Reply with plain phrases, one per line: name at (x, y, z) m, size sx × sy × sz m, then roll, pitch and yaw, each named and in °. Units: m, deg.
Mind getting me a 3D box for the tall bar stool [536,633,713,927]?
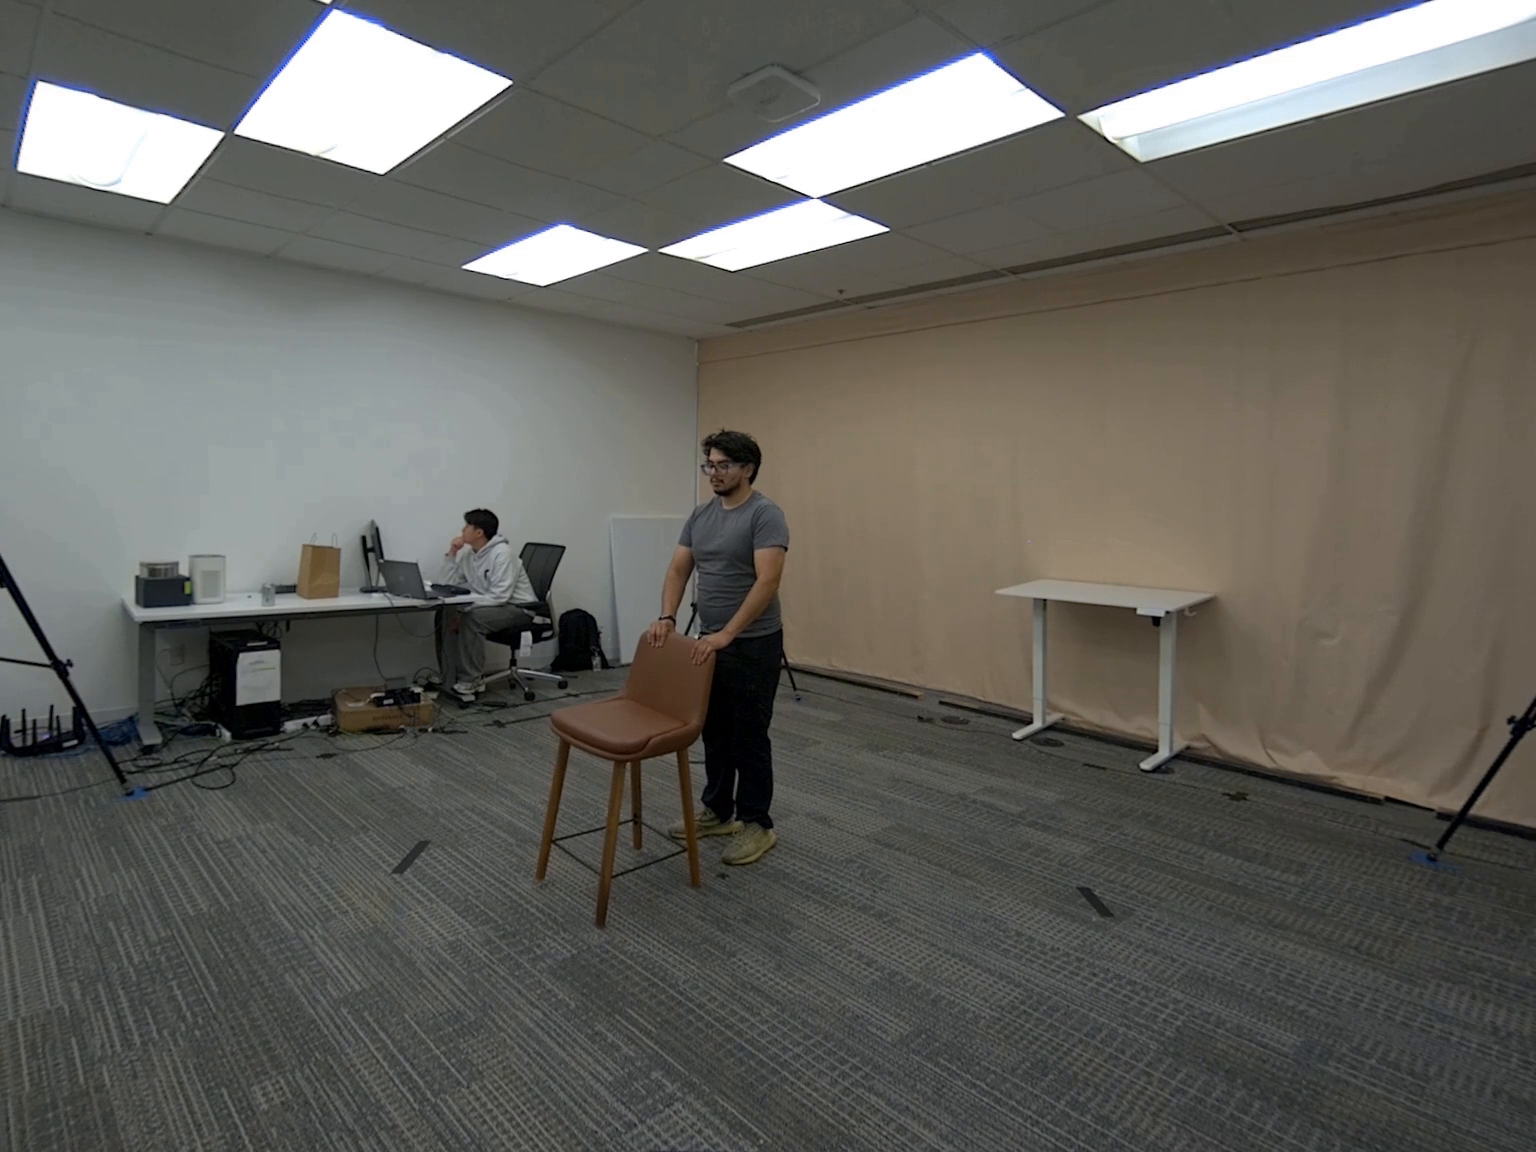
tall bar stool at (-0.497, 0.666, 2.964) m, size 0.456 × 0.887 × 0.469 m, roll 1°, pitch 6°, yaw -44°
